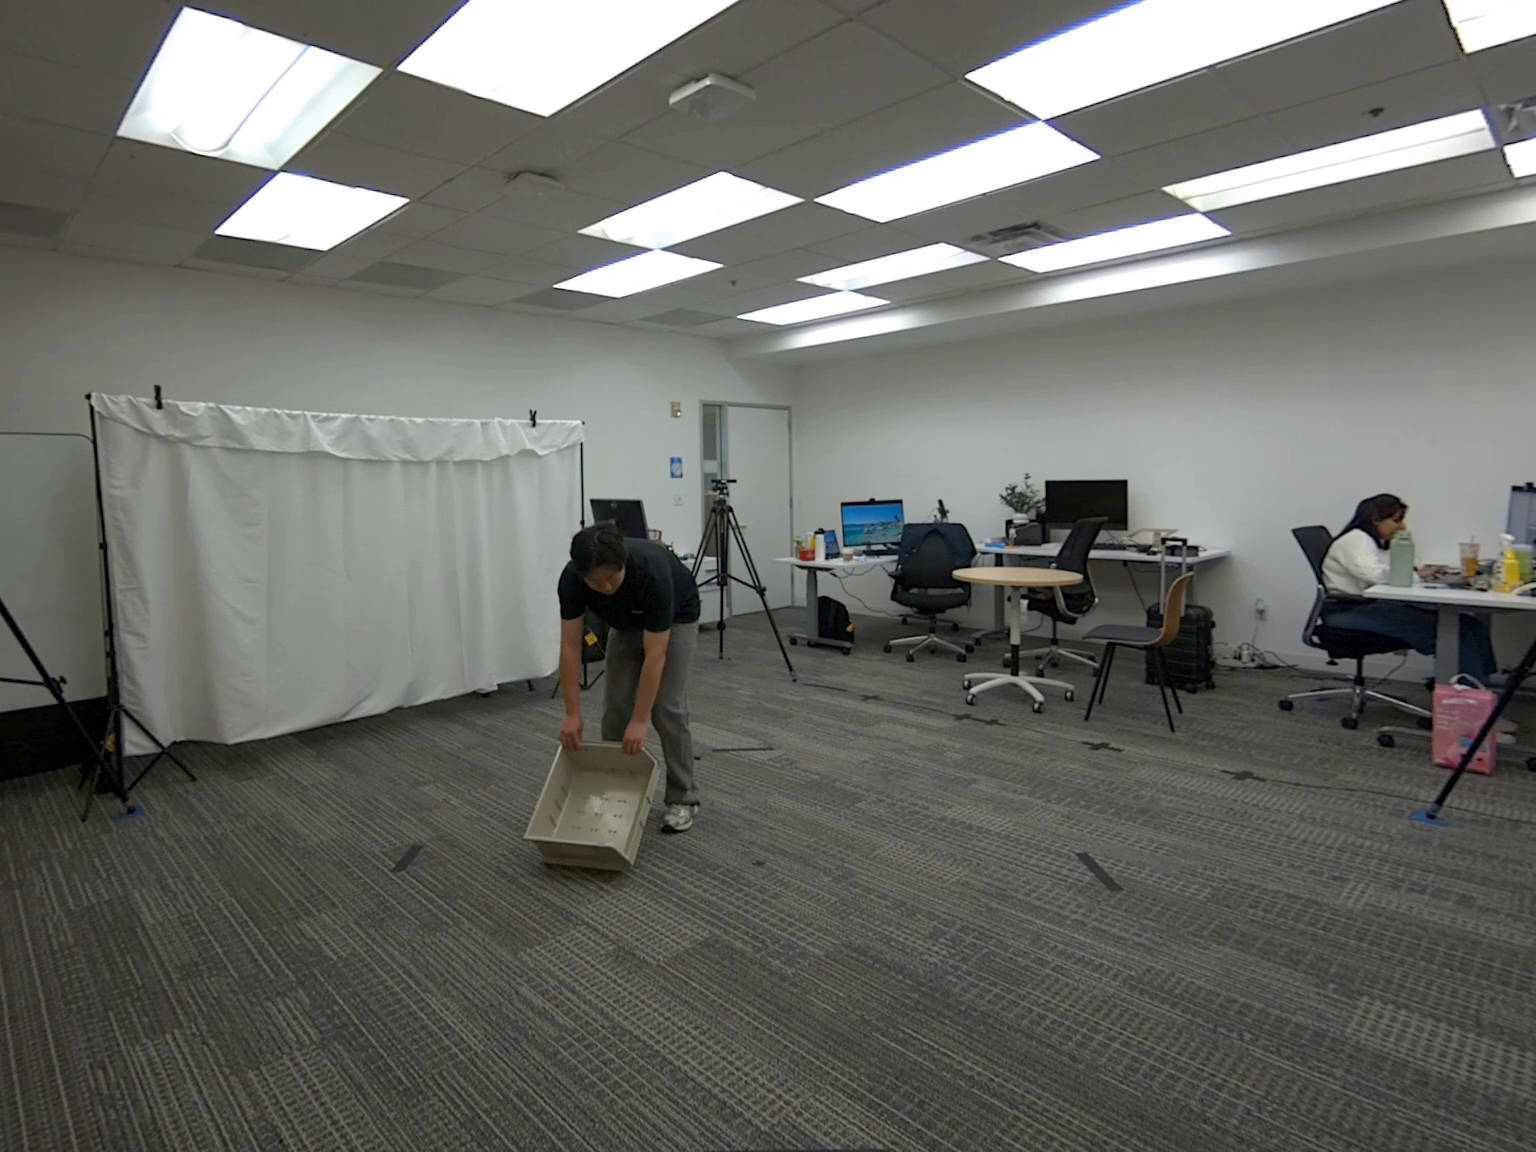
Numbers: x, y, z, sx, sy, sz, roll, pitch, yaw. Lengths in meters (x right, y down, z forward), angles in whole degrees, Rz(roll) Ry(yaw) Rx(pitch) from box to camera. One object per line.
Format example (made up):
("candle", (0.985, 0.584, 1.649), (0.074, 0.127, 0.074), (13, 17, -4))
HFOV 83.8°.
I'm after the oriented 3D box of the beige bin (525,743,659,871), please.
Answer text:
("beige bin", (-0.632, 0.850, 3.194), (0.383, 0.183, 0.430), (-1, 44, 15))
